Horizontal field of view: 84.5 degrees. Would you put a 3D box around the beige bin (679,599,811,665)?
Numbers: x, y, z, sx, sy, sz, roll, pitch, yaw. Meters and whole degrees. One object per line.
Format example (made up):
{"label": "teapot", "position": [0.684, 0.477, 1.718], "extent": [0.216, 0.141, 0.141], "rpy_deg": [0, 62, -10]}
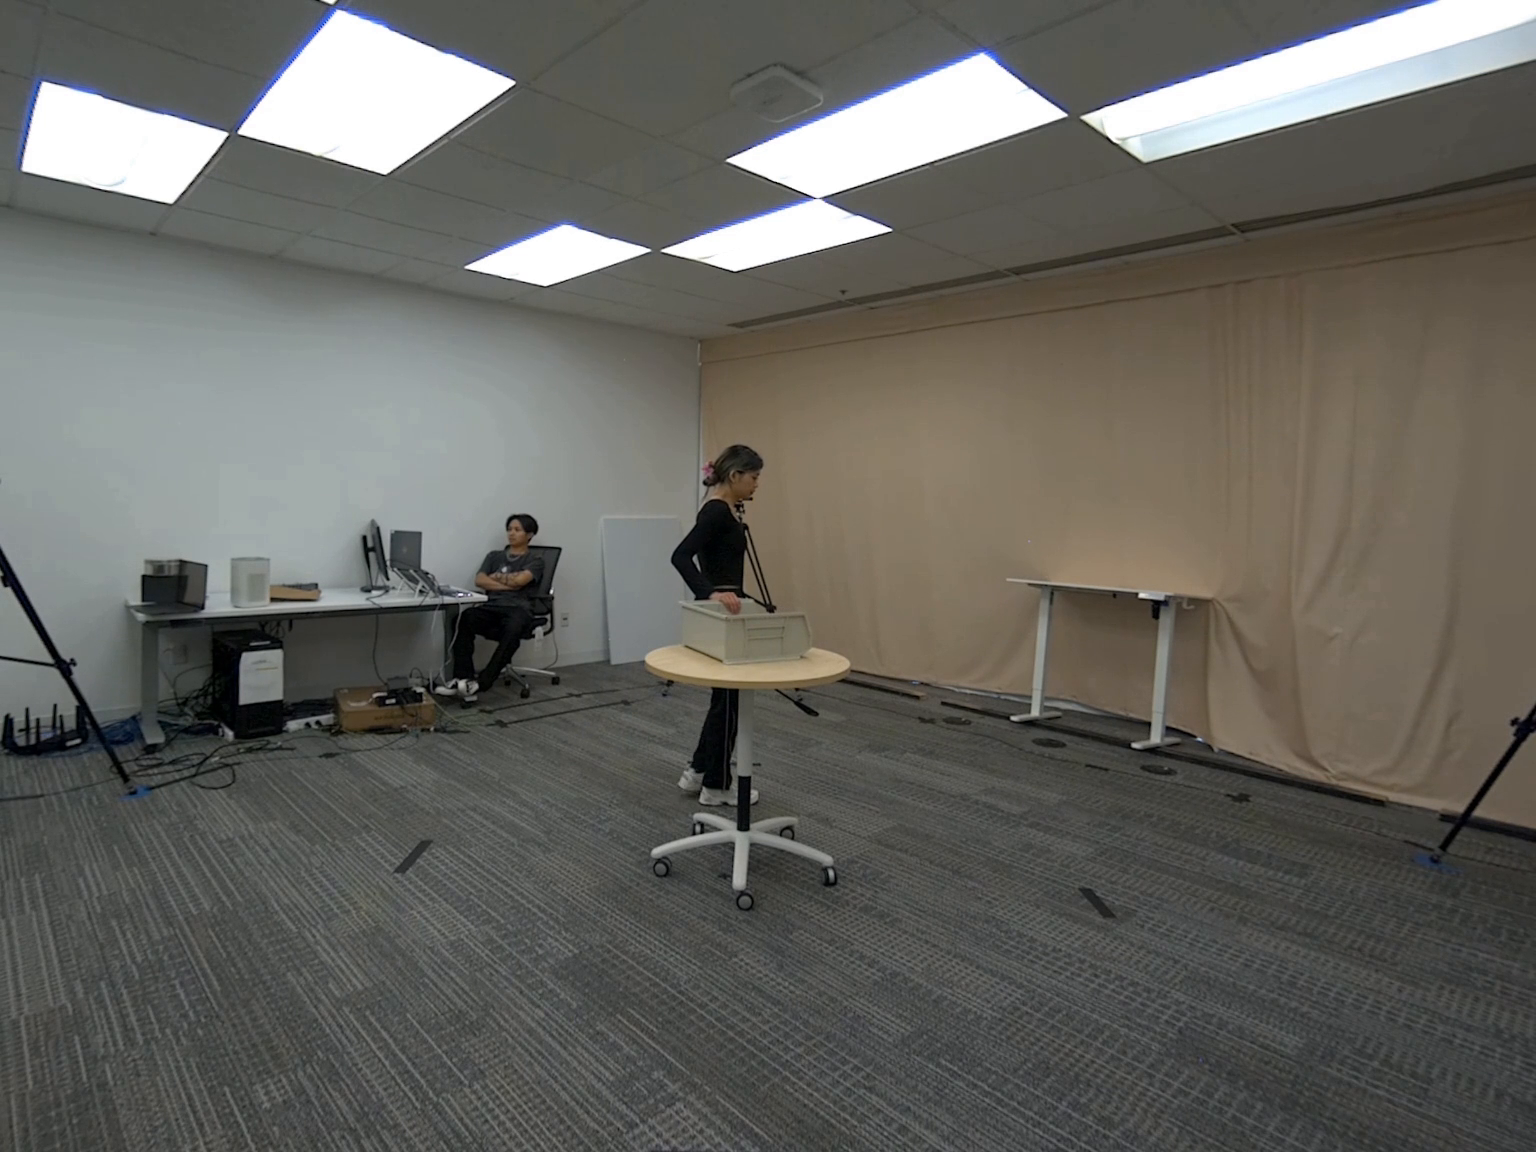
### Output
{"label": "beige bin", "position": [-0.102, 0.208, 3.288], "extent": [0.370, 0.188, 0.432], "rpy_deg": [-2, 7, -28]}
